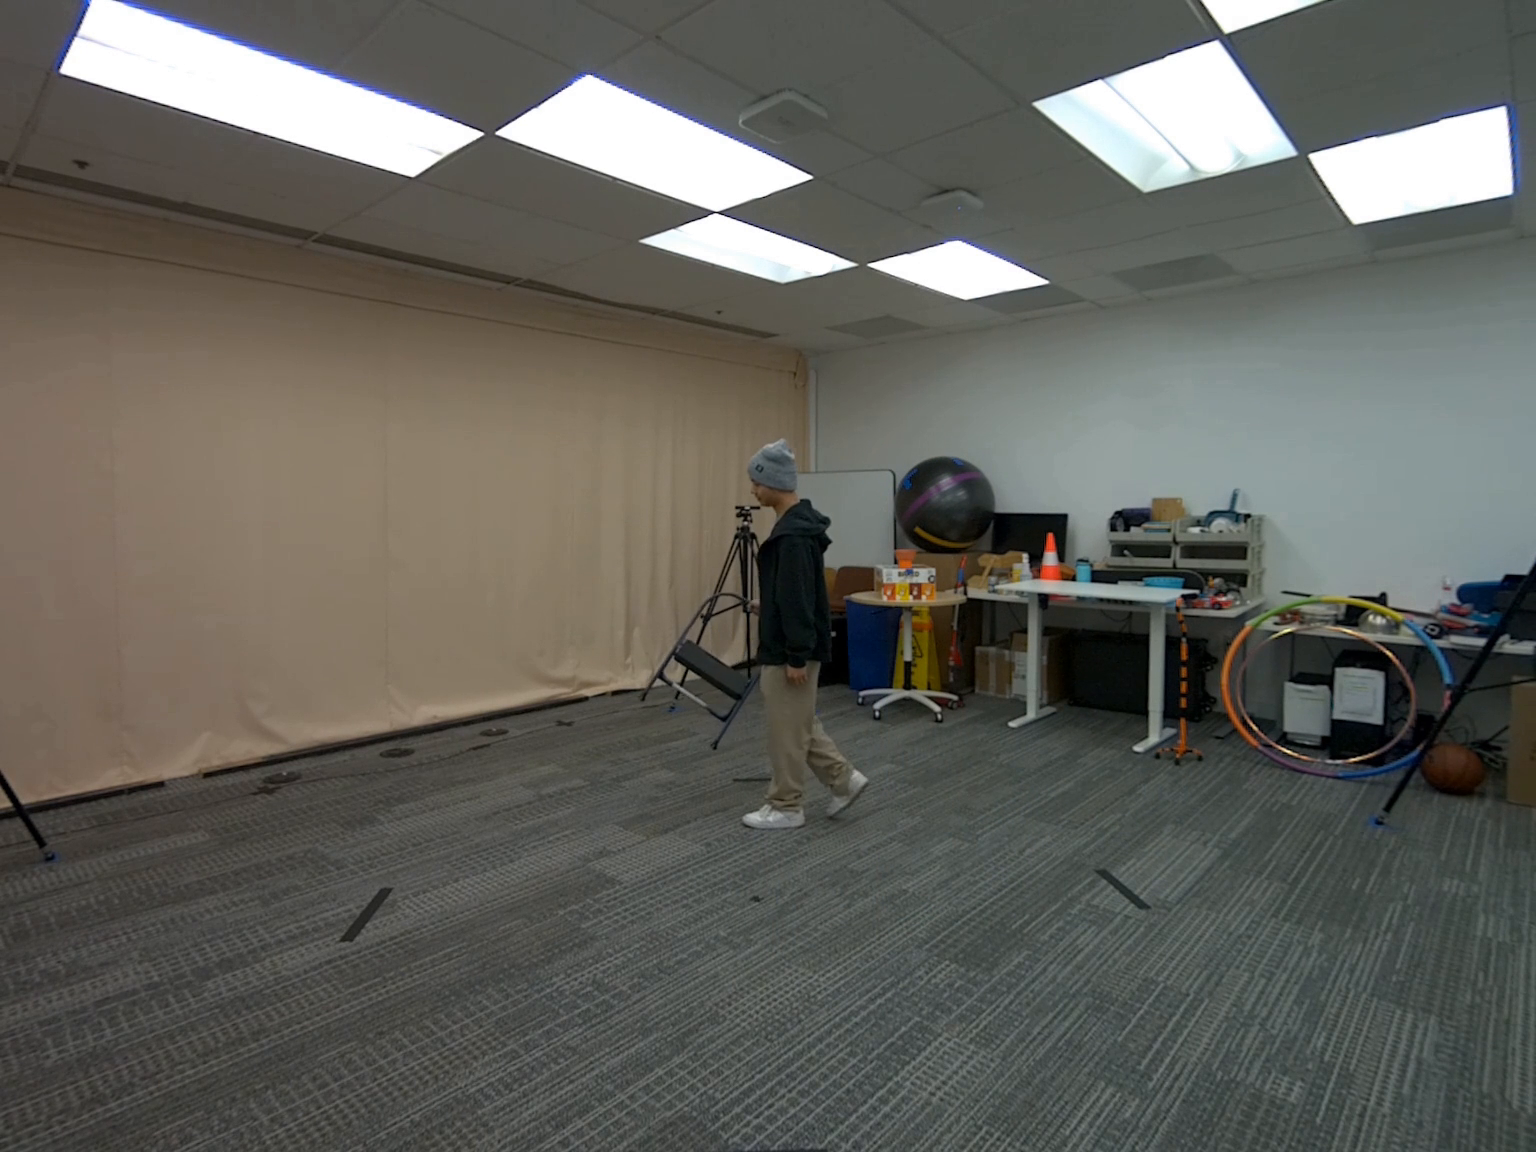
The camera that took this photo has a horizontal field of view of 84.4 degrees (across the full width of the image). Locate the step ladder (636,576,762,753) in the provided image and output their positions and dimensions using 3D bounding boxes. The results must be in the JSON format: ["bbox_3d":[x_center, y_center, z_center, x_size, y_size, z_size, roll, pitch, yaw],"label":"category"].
[{"bbox_3d":[-0.242,0.398,3.942,0.431,0.606,0.349,32,13,0],"label":"step ladder"}]
